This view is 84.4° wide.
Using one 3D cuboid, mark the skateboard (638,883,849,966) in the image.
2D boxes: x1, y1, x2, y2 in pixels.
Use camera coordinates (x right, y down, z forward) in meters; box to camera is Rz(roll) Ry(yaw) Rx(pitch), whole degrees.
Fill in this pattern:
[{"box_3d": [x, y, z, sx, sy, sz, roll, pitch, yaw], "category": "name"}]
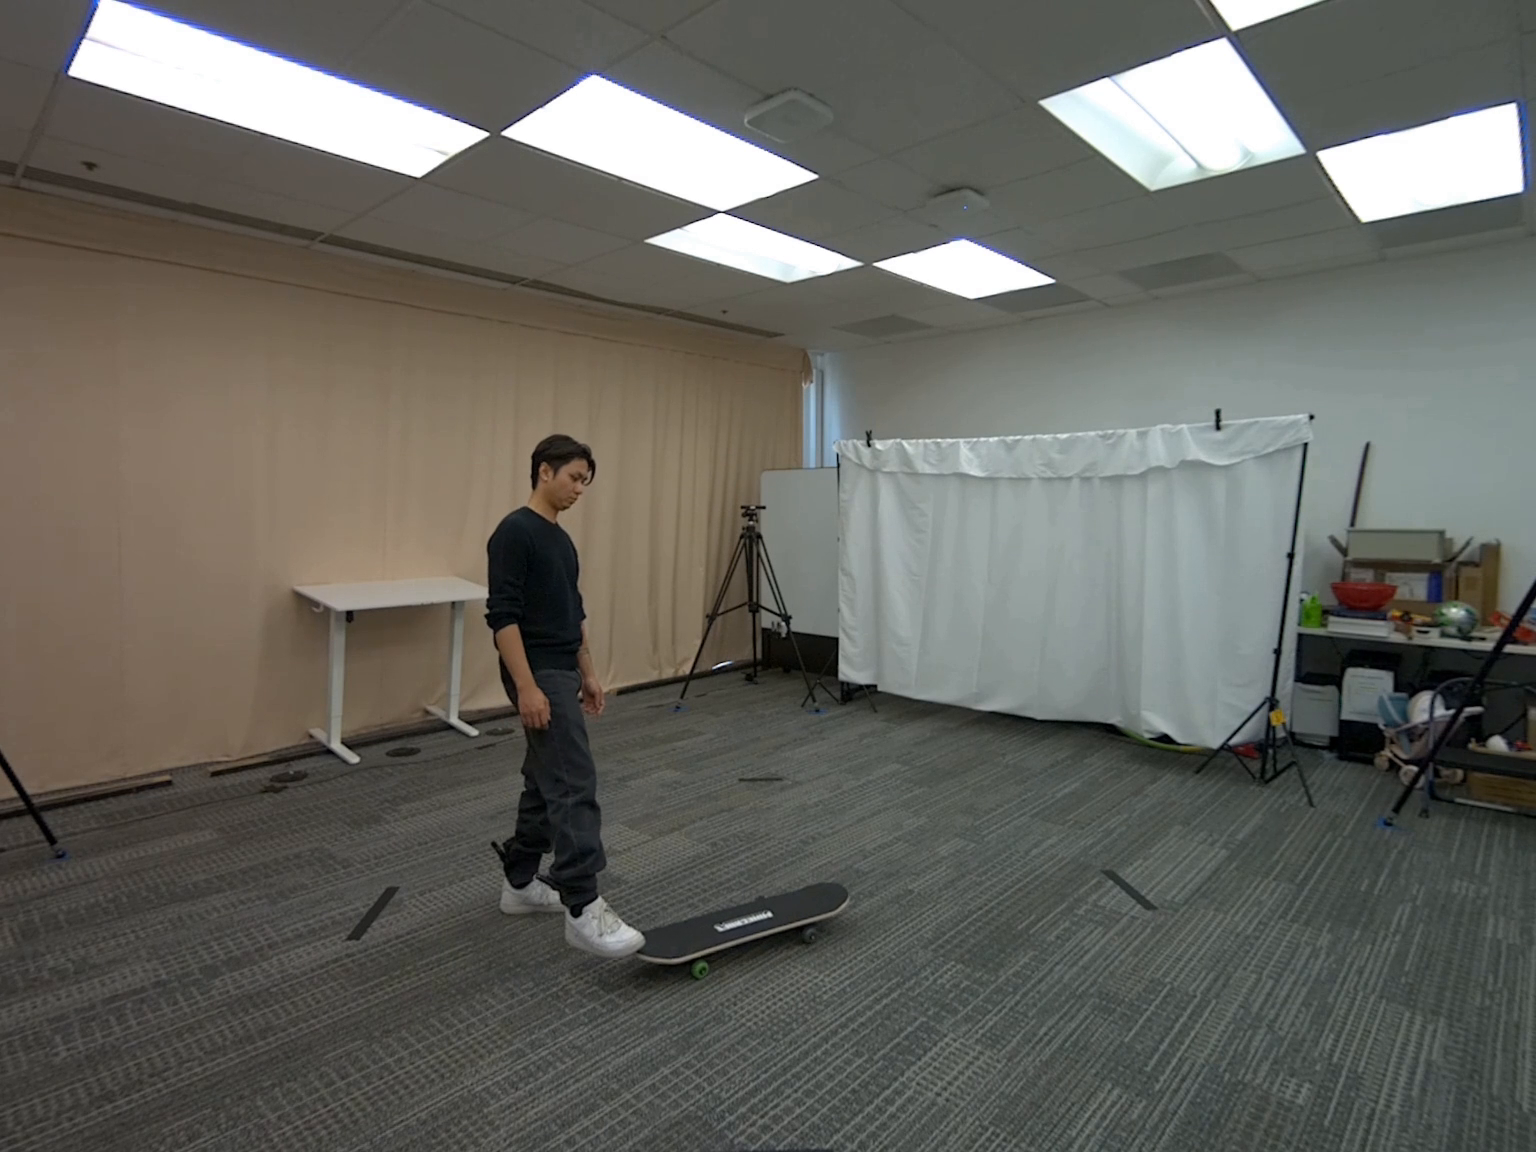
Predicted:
[{"box_3d": [-0.070, 1.119, 2.643, 0.764, 0.110, 0.199, -3, 5, -30], "category": "skateboard"}]
